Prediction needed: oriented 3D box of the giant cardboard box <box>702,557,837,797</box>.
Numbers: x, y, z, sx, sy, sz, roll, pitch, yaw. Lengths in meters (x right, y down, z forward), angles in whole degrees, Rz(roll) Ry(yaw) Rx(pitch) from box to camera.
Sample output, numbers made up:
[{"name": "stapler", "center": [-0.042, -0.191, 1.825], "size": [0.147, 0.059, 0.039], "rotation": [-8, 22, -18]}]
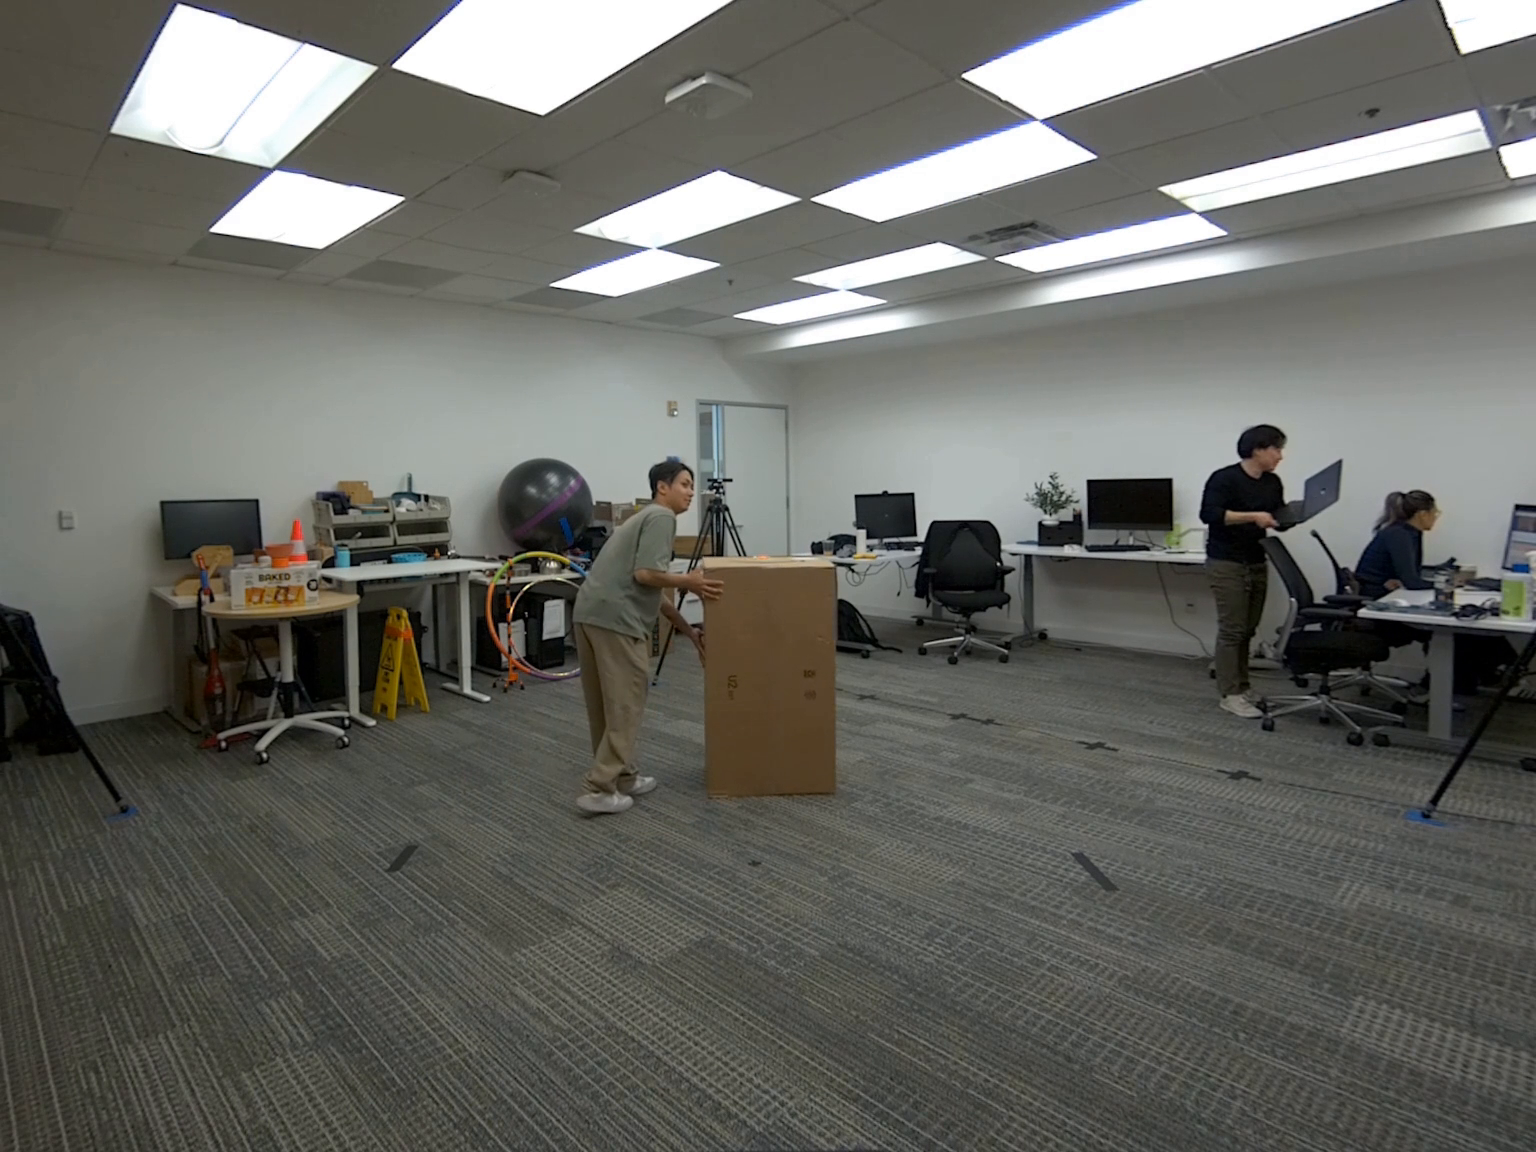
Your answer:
[{"name": "giant cardboard box", "center": [-0.006, 0.441, 3.933], "size": [0.576, 1.021, 0.429], "rotation": [-1, 5, -4]}]
